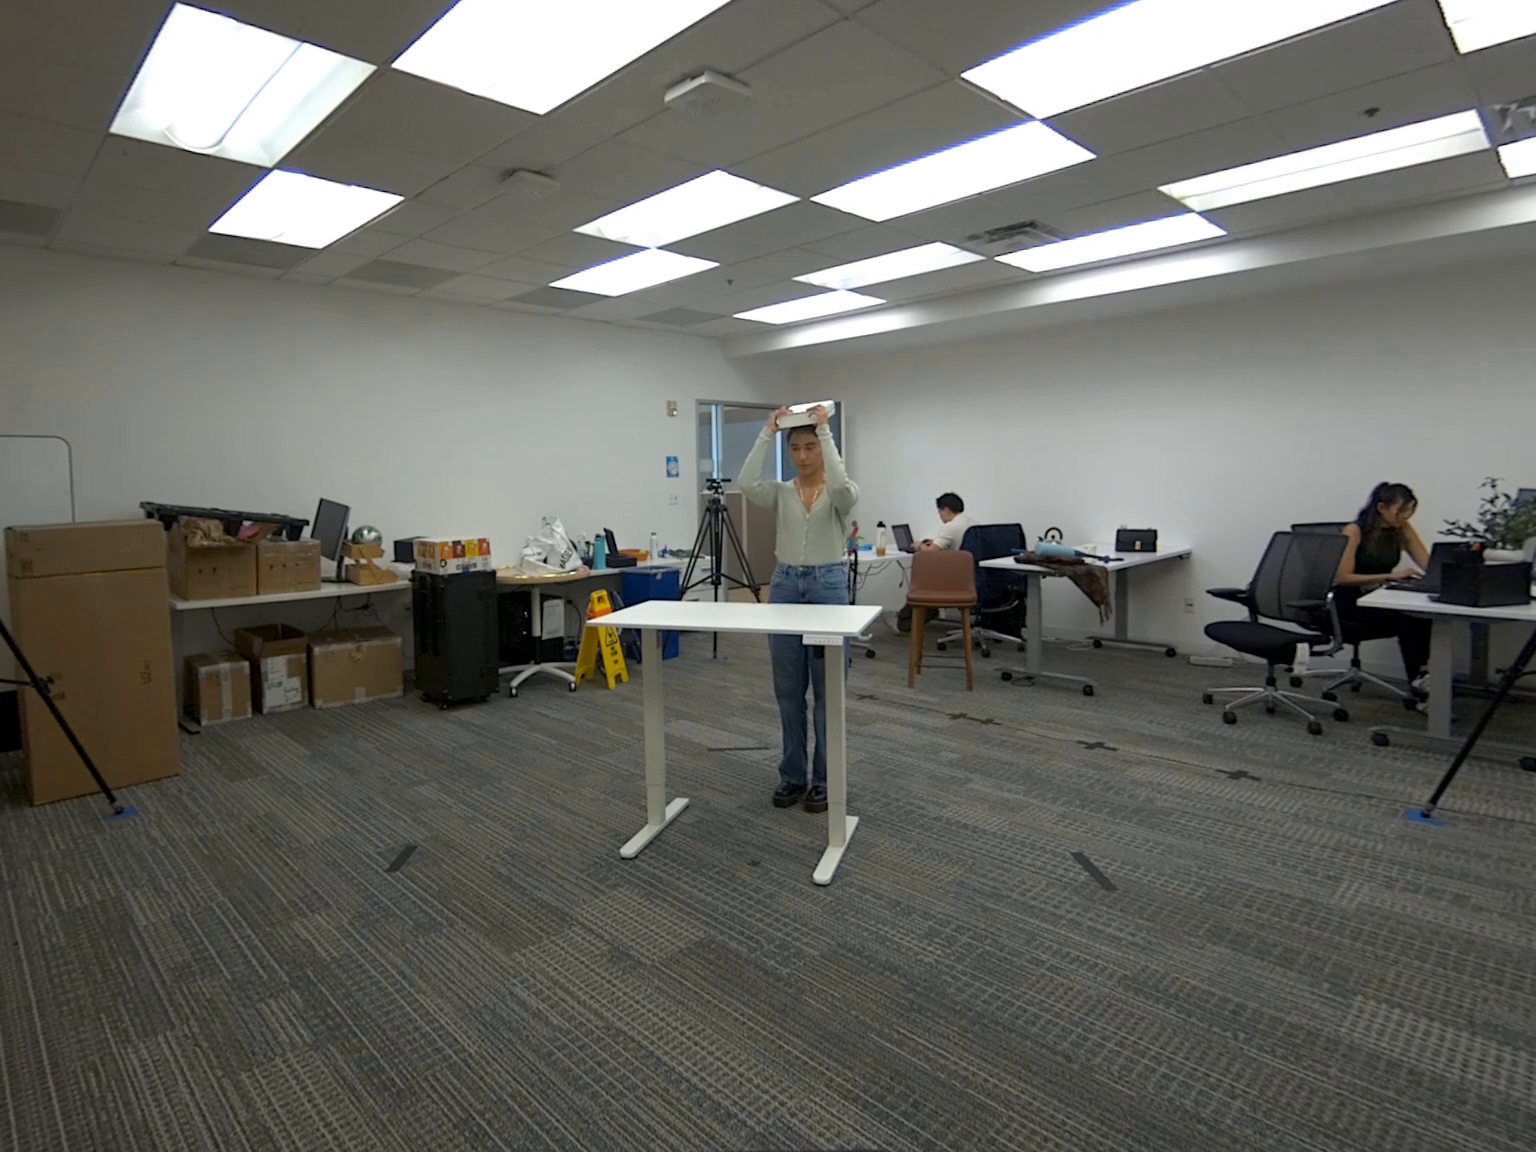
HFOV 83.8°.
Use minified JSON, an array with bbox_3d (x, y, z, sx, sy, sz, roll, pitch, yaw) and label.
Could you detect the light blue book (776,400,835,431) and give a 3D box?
[{"bbox_3d":[0.156,-0.686,3.633,0.195,0.058,0.260,-4,17,23],"label":"light blue book"}]
